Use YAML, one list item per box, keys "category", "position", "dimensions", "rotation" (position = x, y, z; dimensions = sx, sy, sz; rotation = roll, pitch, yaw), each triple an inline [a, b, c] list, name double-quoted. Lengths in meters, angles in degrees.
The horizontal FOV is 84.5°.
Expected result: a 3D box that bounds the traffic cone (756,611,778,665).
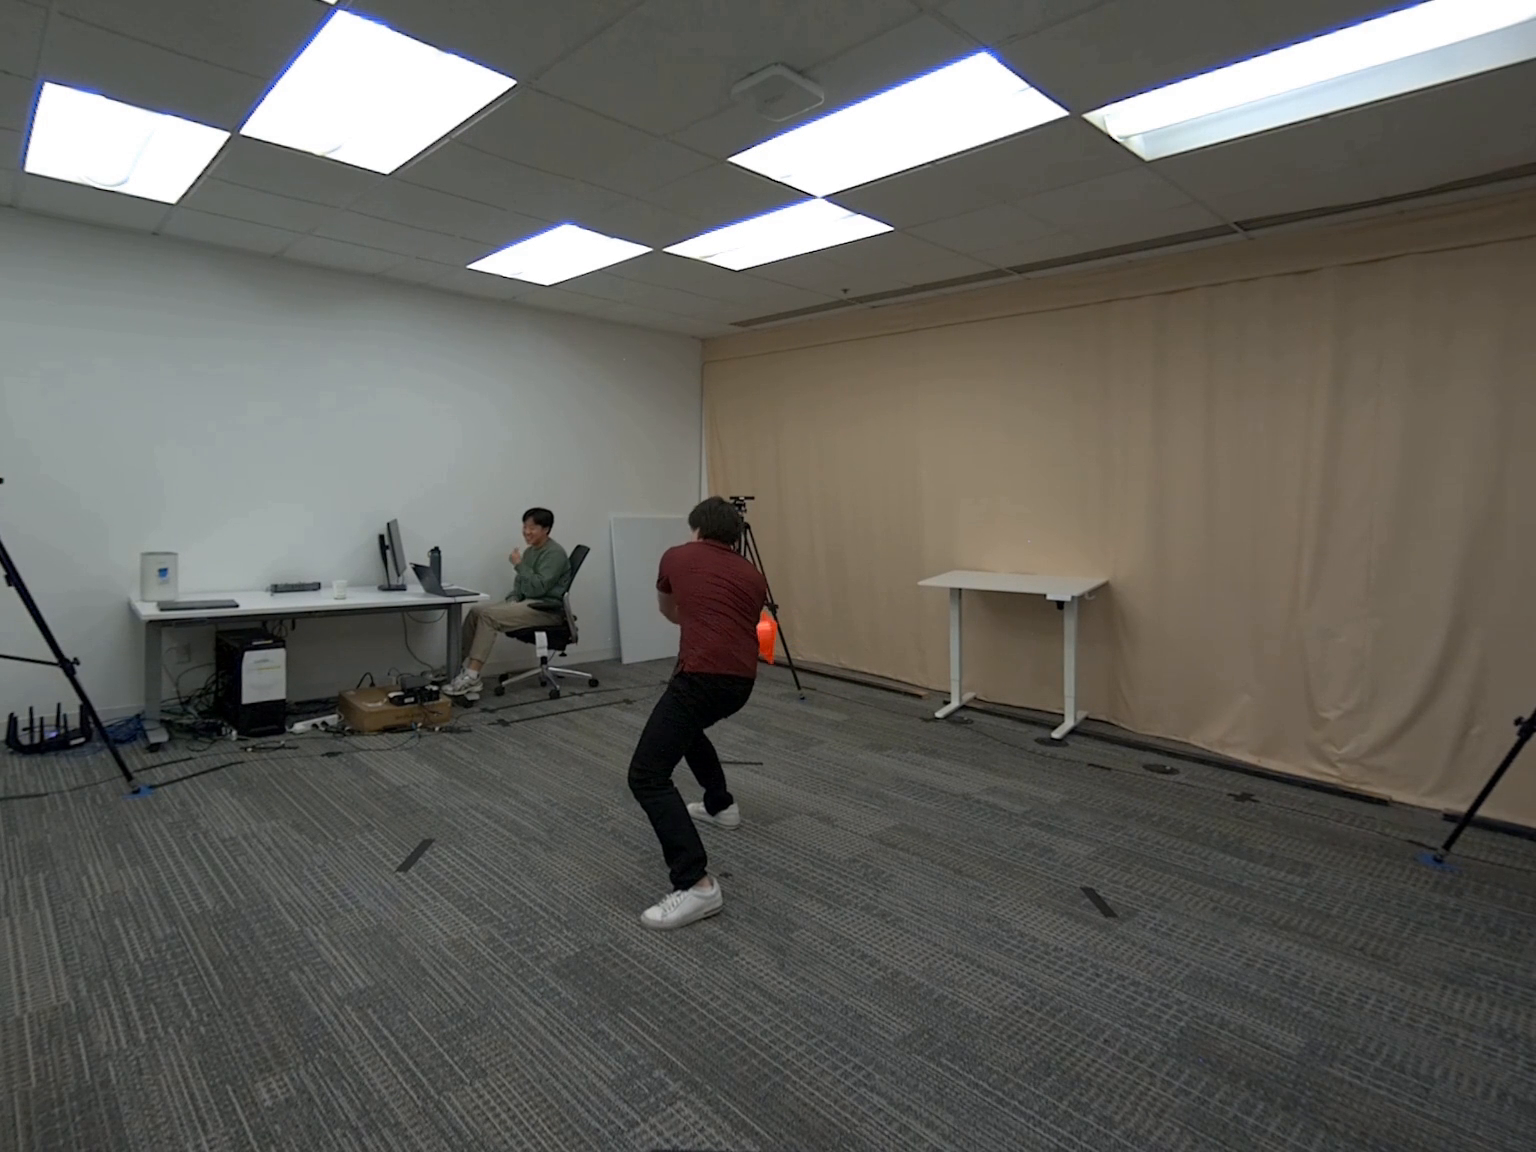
- category: "traffic cone"
  position: [-0.188, 0.280, 3.839]
  dimensions: [0.379, 0.203, 0.208]
  rotation: [0, 16, -17]
